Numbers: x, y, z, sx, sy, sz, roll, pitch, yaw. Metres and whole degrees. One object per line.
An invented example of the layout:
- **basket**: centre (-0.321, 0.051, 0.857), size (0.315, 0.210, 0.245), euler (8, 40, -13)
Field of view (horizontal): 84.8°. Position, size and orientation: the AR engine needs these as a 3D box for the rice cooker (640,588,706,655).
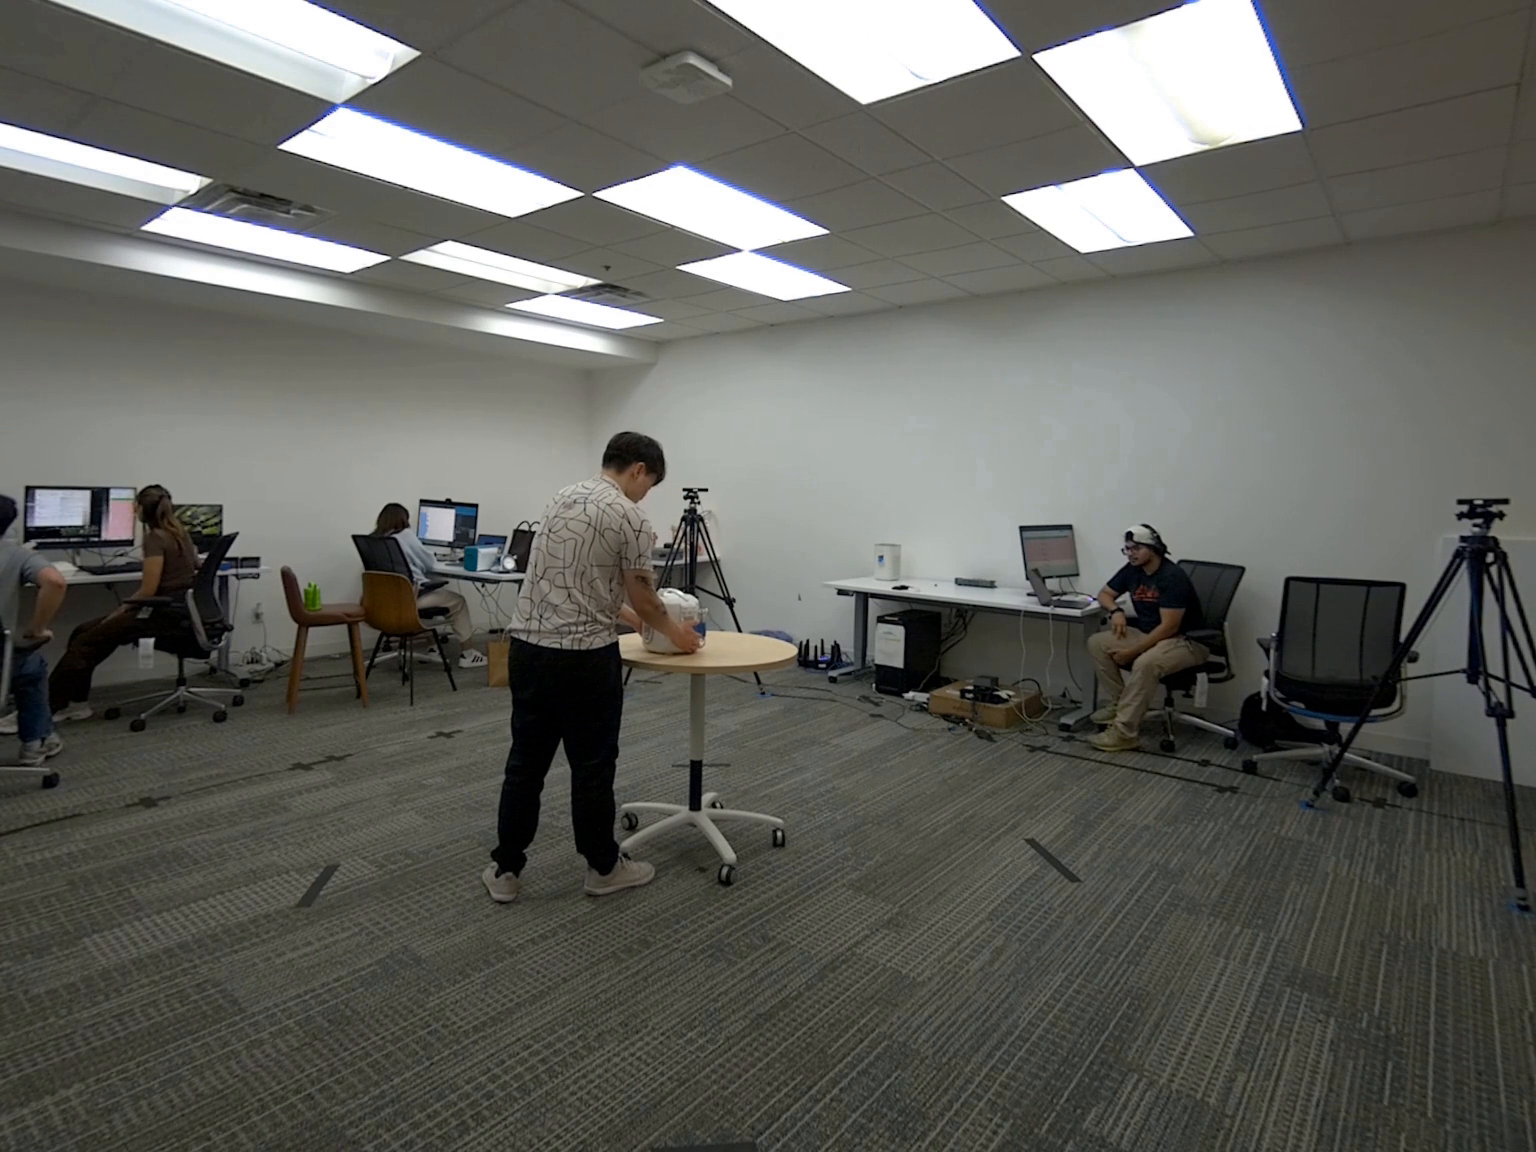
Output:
- **rice cooker**: centre (-0.369, 0.163, 3.182), size (0.211, 0.232, 0.228), euler (-2, 4, -44)
